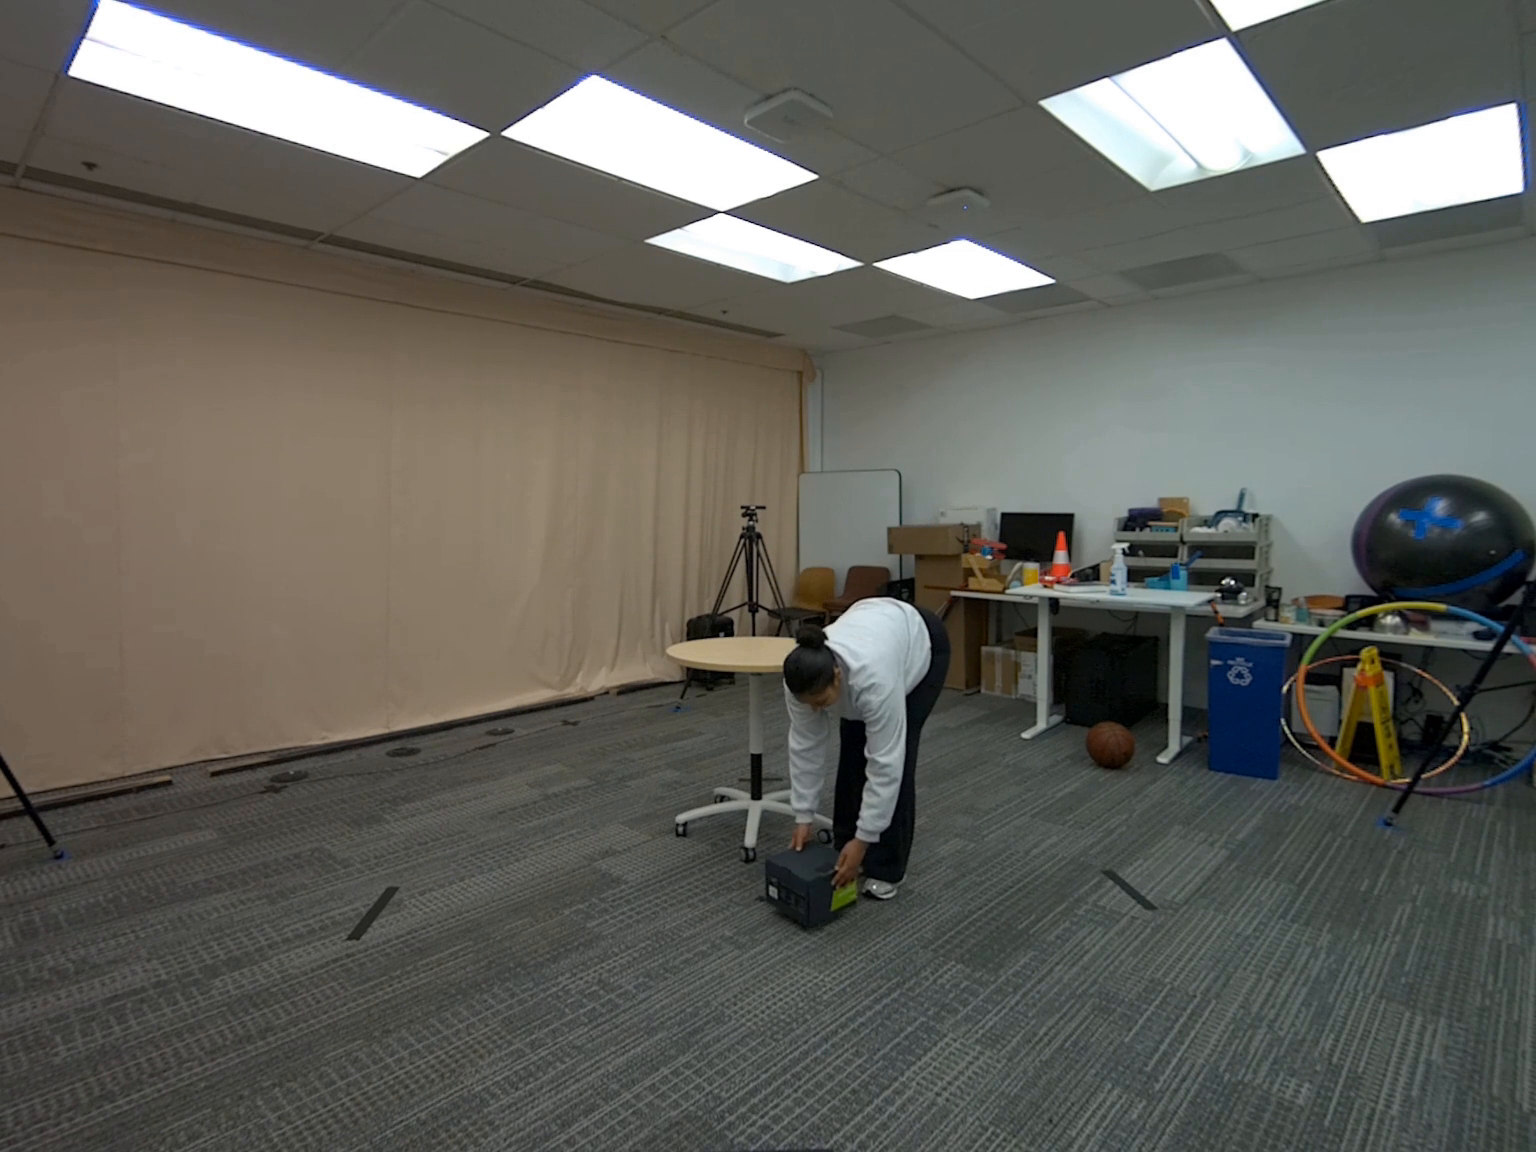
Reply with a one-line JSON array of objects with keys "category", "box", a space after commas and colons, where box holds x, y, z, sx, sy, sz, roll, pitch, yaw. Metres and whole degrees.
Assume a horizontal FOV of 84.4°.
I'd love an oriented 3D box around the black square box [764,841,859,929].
[{"category": "black square box", "box": [0.152, 1.022, 2.862, 0.221, 0.155, 0.224, -7, 8, -39]}]
